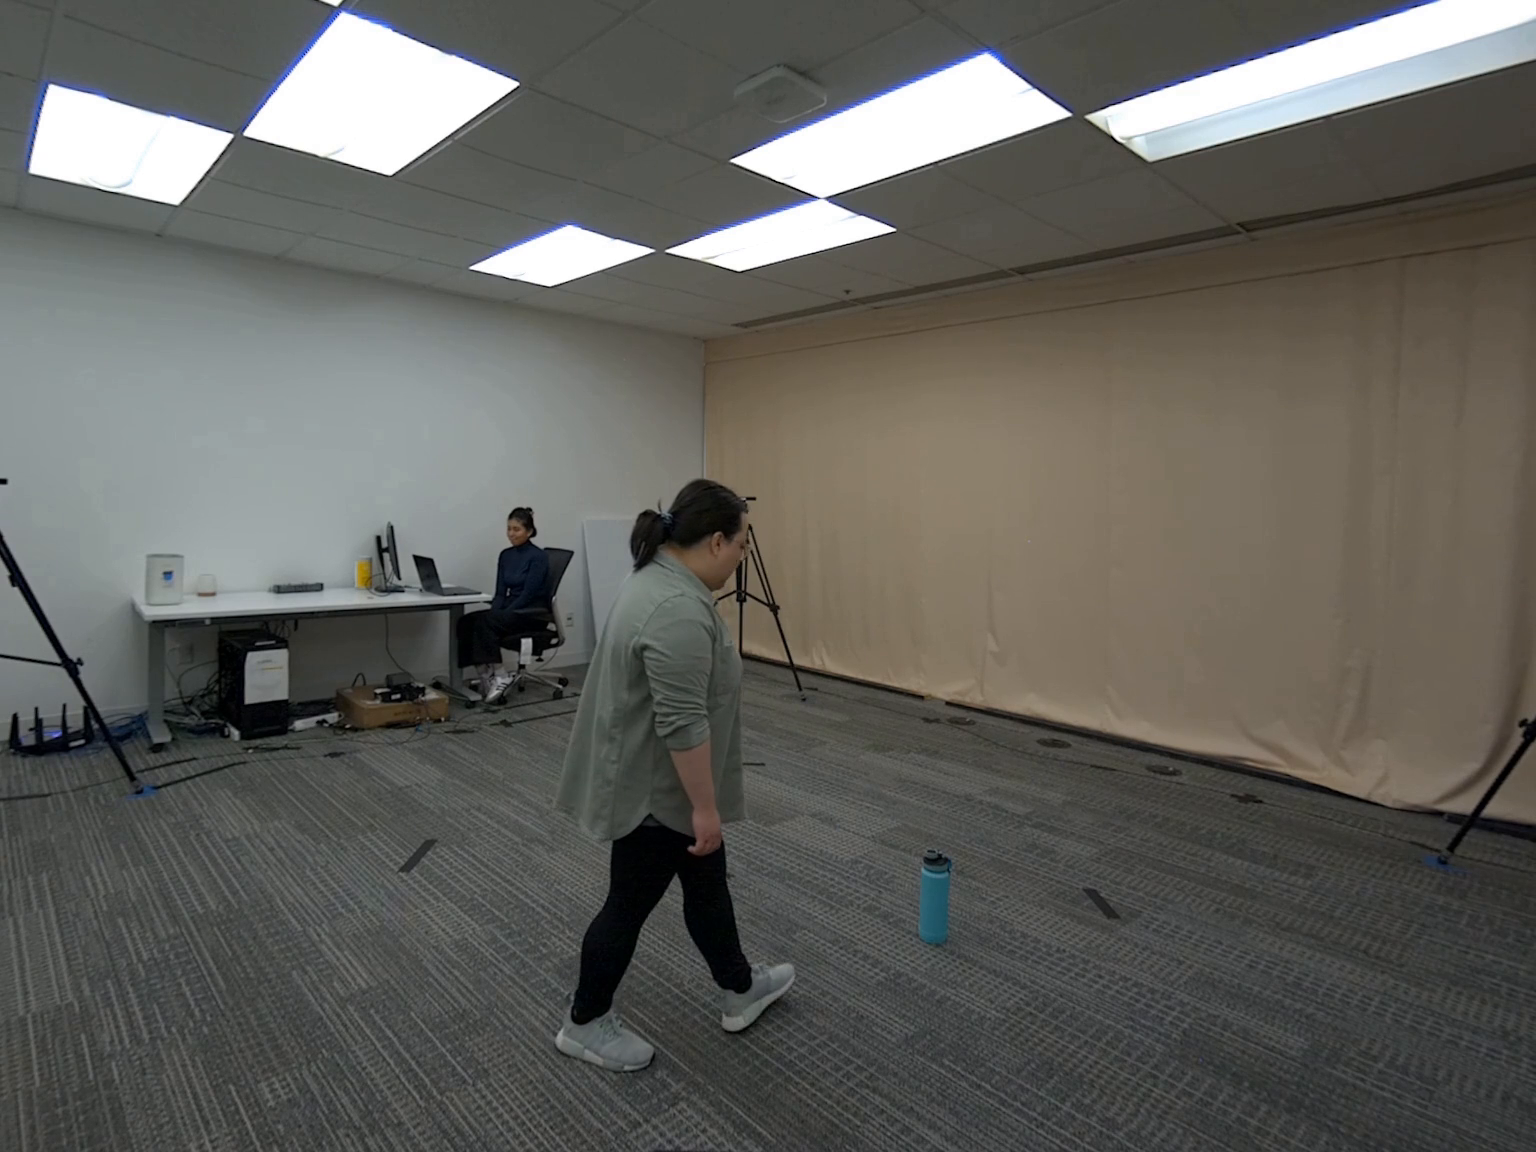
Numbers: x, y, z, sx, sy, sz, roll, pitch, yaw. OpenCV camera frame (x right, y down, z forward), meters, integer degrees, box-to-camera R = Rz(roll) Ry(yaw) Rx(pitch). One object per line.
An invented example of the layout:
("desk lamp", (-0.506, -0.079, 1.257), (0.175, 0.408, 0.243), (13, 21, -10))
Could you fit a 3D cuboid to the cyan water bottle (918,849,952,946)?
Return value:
("cyan water bottle", (0.531, 1.025, 2.687), (0.092, 0.282, 0.093), (3, 6, -2))
